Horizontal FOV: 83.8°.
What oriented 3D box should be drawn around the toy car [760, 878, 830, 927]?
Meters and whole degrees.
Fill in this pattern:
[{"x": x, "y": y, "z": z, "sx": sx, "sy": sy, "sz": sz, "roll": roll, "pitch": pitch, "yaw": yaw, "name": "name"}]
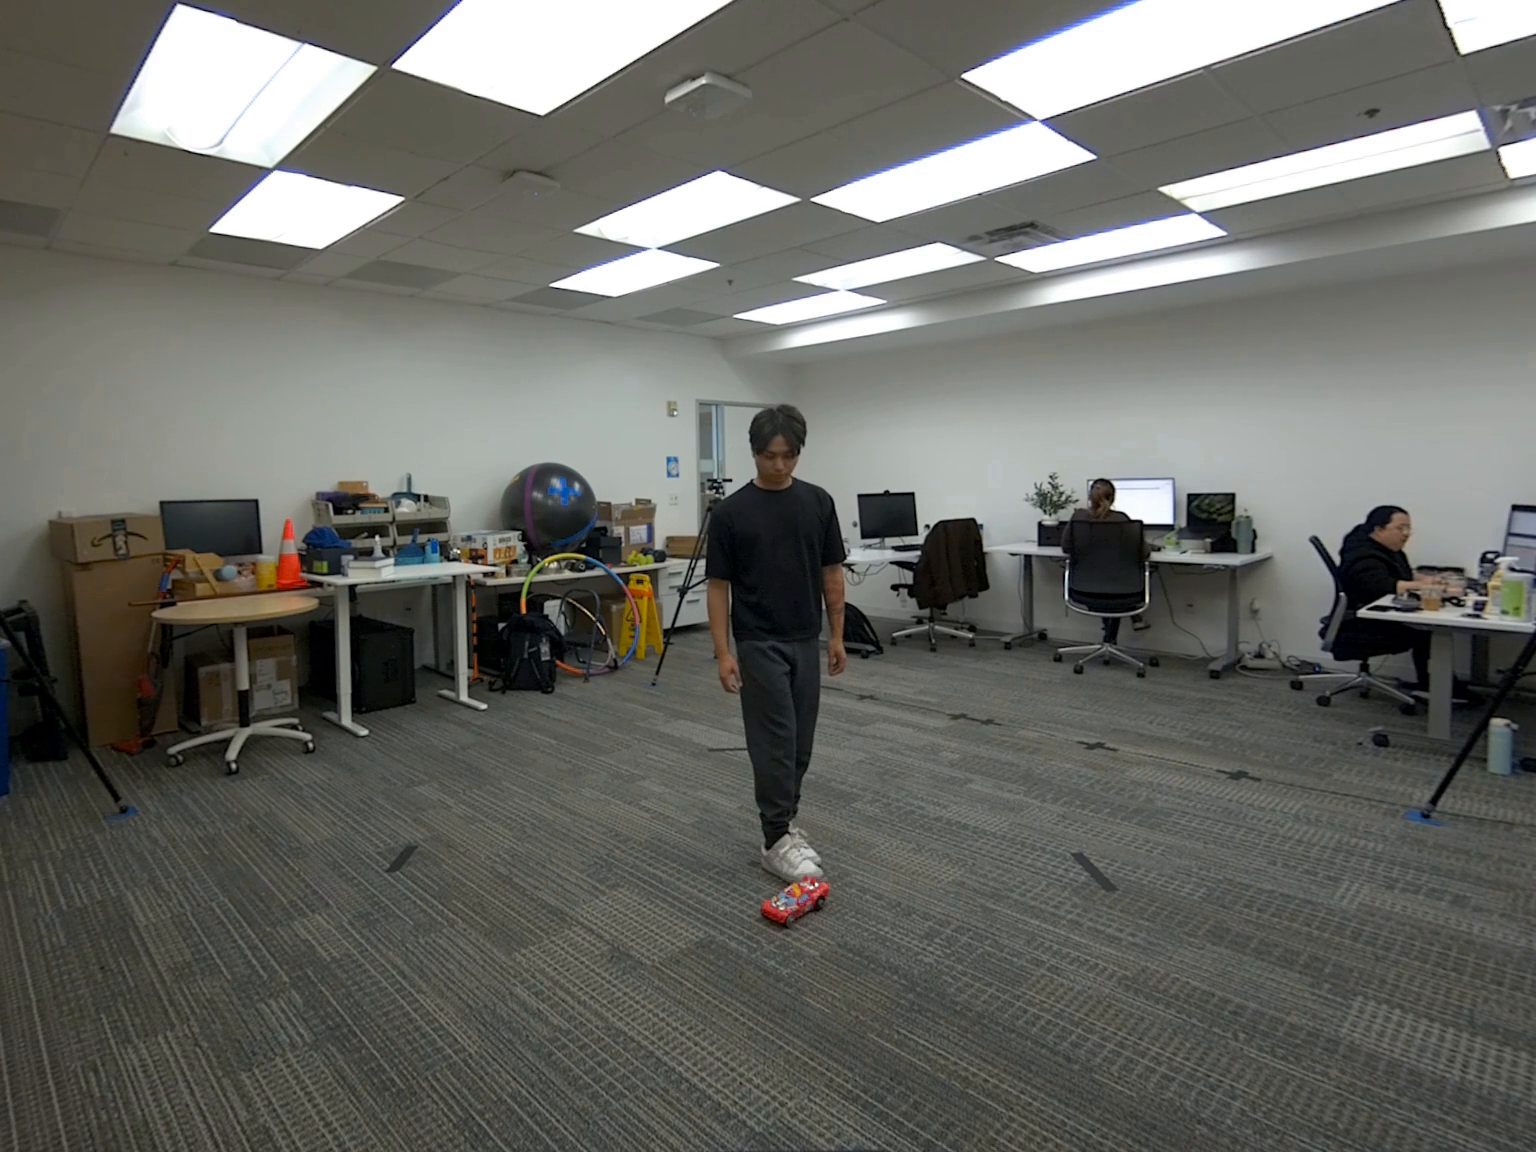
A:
[{"x": 0.100, "y": 1.053, "z": 2.759, "sx": 0.134, "sy": 0.082, "sz": 0.250, "roll": 5, "pitch": 20, "yaw": 45, "name": "toy car"}]
